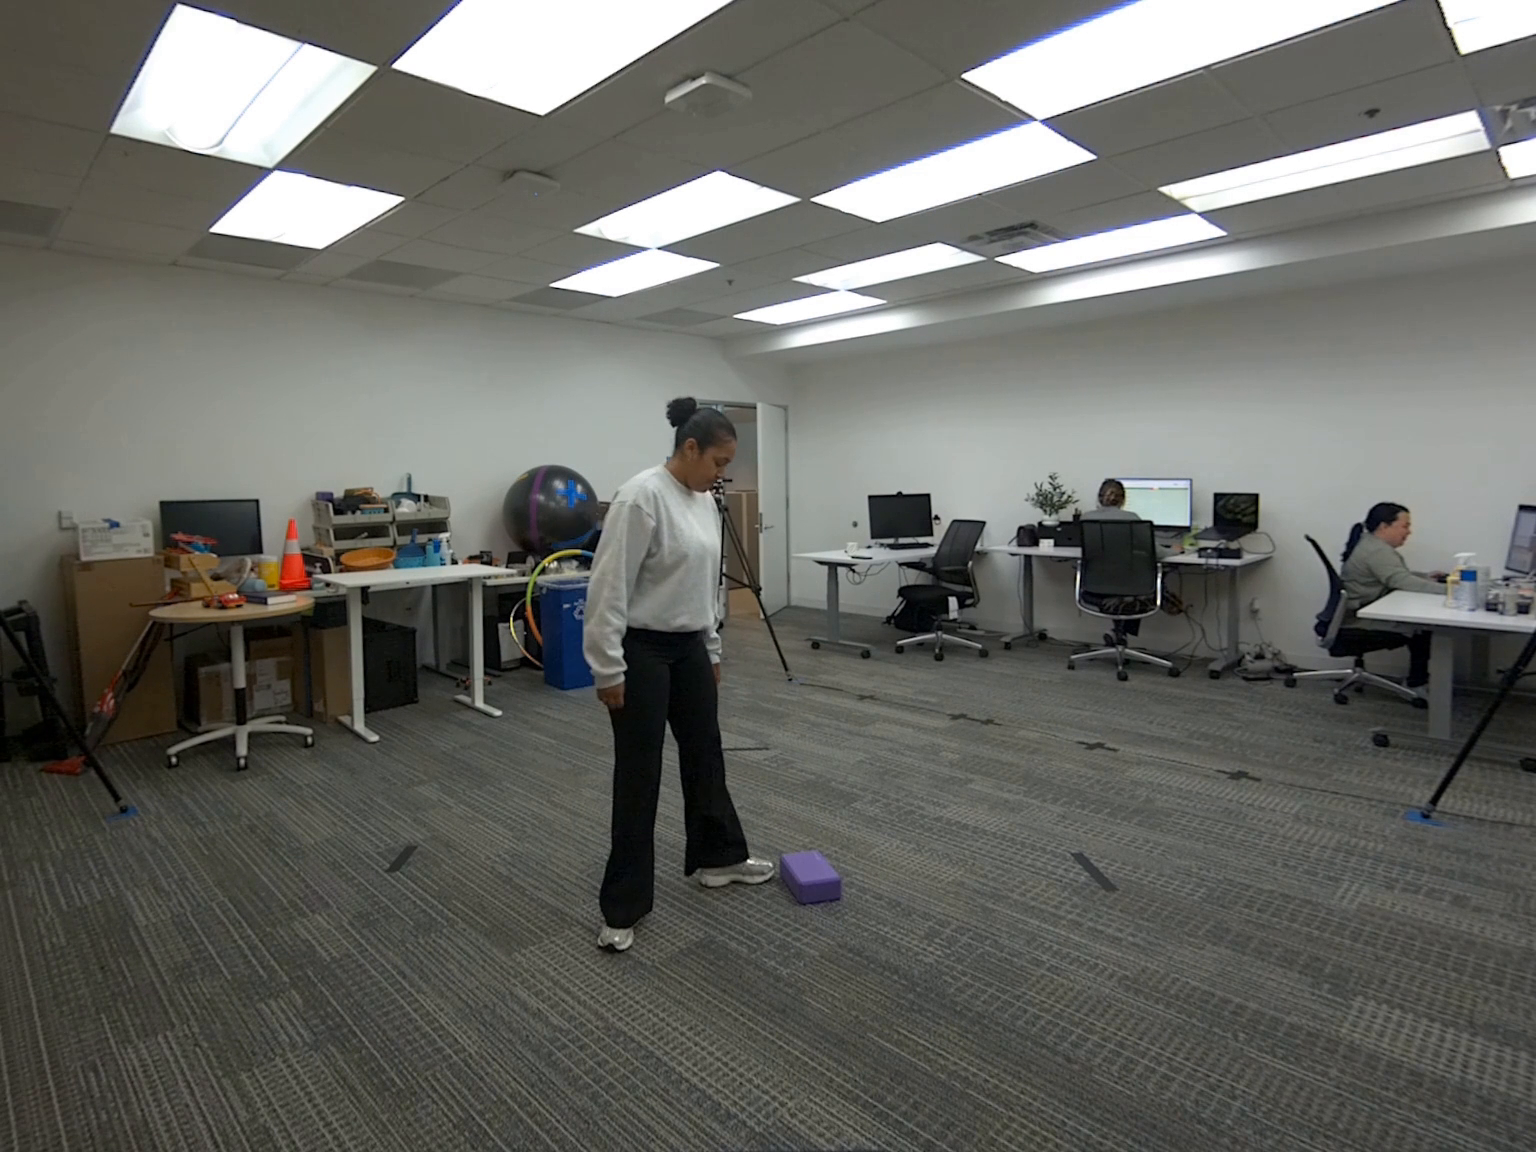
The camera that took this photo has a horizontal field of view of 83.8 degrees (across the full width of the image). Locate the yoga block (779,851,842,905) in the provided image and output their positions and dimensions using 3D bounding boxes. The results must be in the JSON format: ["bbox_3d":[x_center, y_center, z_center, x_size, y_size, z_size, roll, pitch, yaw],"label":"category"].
[{"bbox_3d":[0.142,1.020,2.912,0.147,0.076,0.233,-4,5,-16],"label":"yoga block"}]
